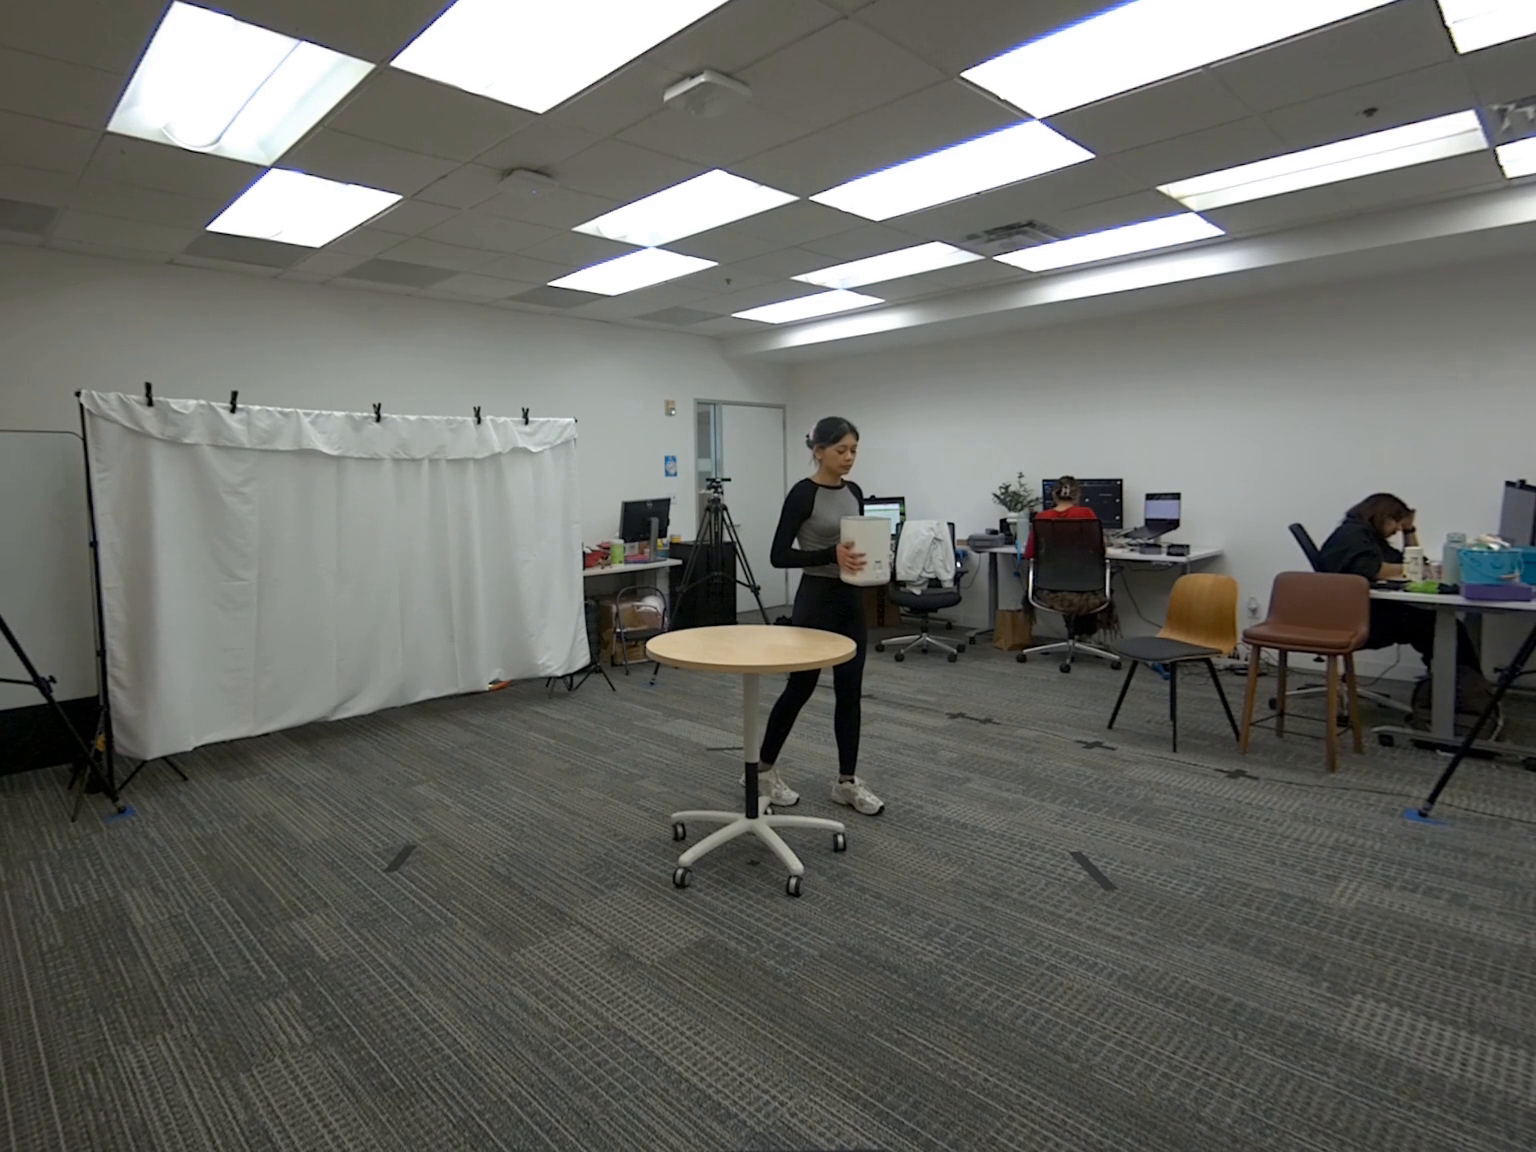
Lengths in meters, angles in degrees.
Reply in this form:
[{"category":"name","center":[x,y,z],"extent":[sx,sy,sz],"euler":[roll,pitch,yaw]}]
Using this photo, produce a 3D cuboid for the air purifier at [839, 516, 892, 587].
[{"category":"air purifier","center":[0.375,-0.098,3.416],"extent":[0.167,0.264,0.176],"euler":[-2,5,-26]}]
